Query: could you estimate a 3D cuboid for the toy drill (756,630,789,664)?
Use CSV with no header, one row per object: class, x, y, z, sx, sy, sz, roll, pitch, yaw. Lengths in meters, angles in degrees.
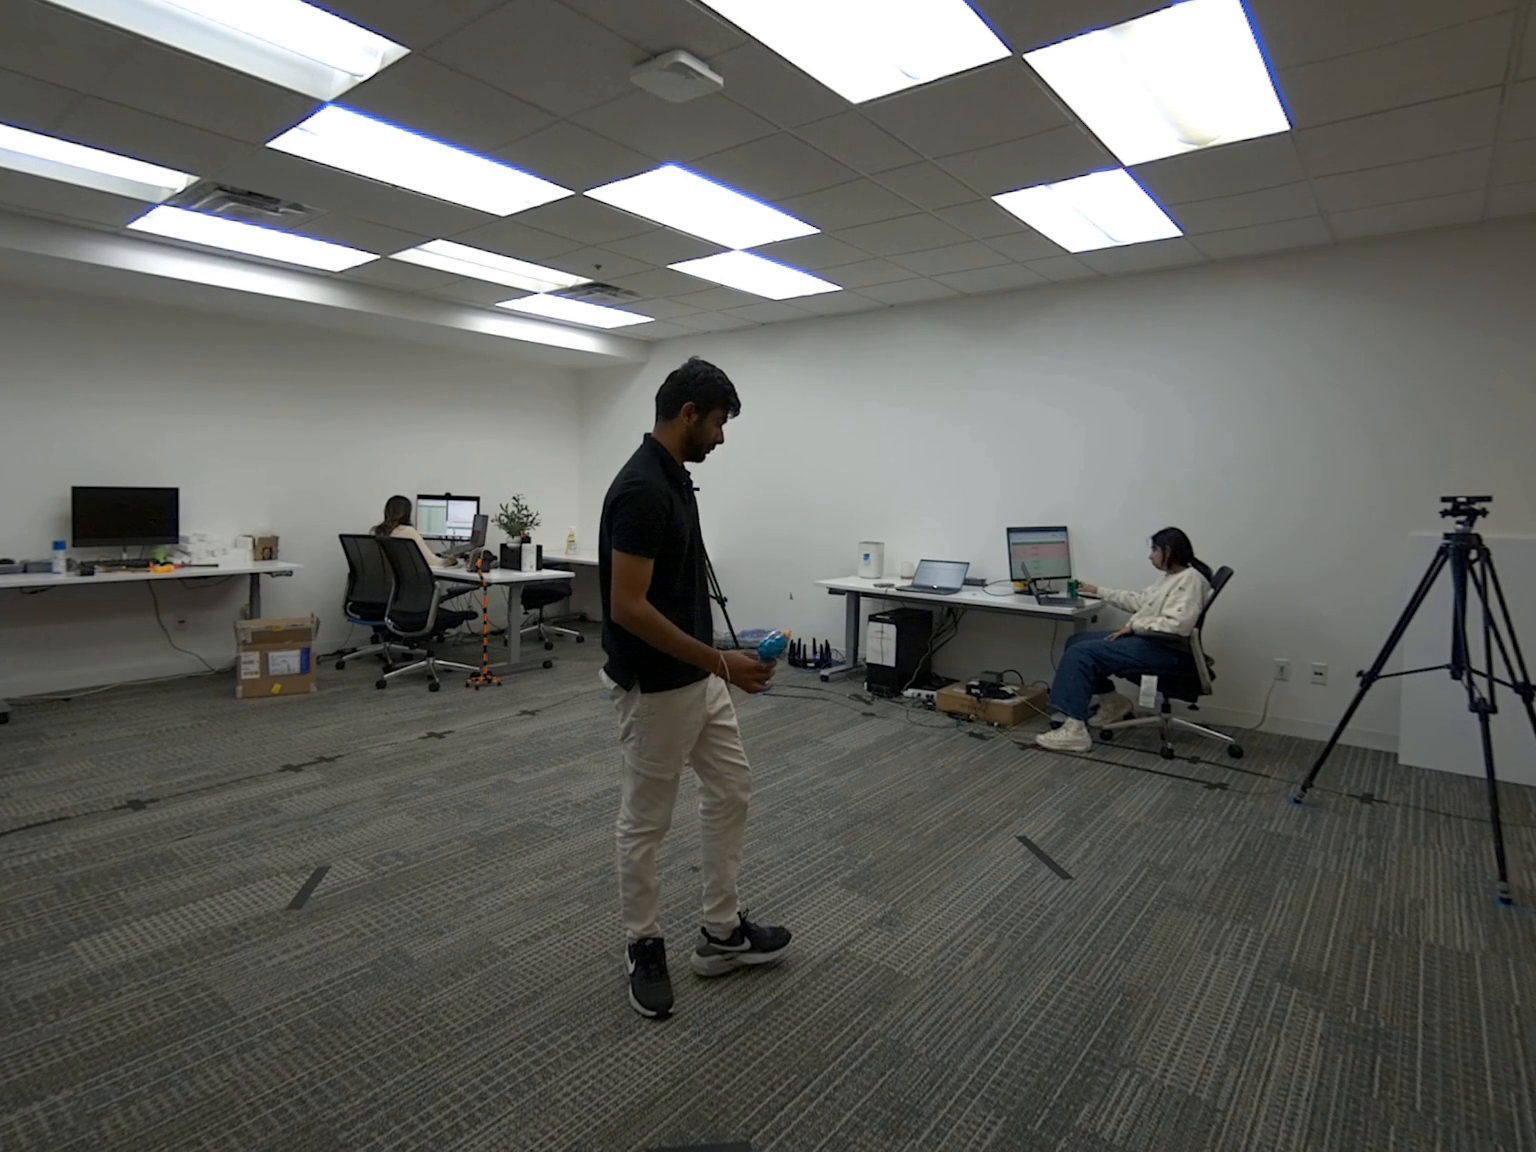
toy drill,-0.002,0.210,2.150,0.063,0.144,0.166,25,27,28
